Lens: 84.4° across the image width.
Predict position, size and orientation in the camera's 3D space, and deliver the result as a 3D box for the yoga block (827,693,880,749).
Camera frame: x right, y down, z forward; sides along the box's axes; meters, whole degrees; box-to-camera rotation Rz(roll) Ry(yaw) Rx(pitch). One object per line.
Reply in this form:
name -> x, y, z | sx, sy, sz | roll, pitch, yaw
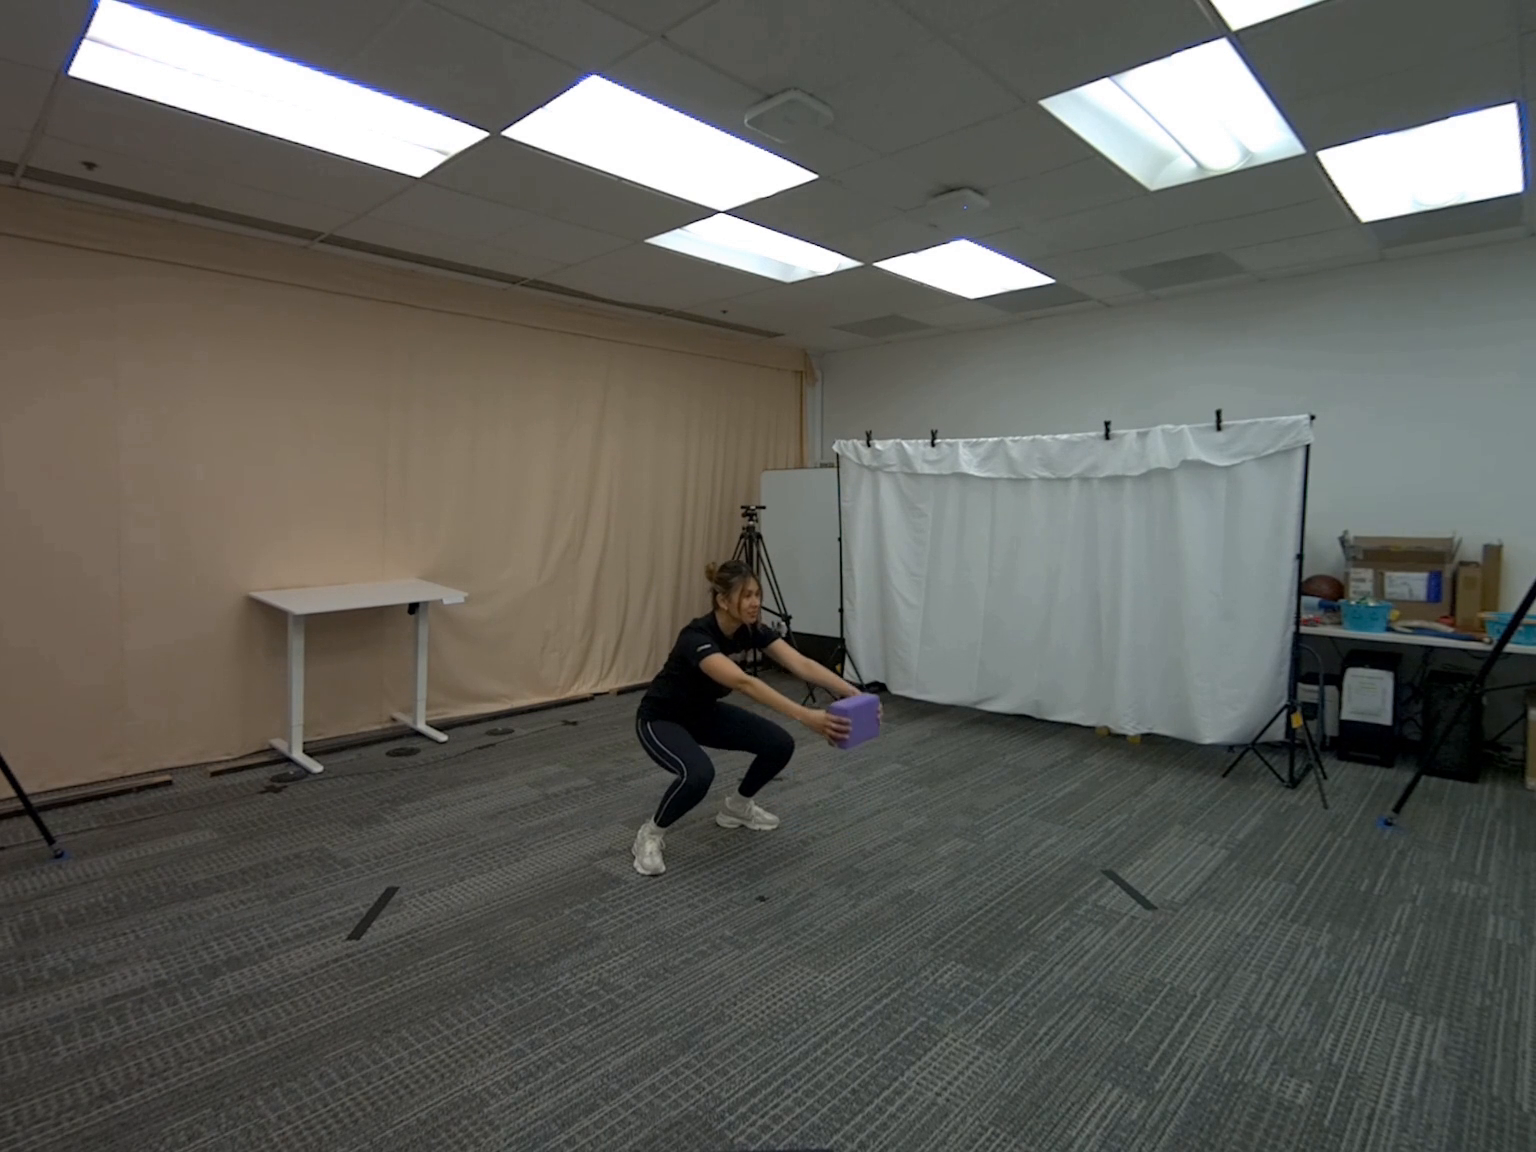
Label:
yoga block -> 0.308, 0.499, 2.925 | 0.079, 0.148, 0.223 | 4, 7, 37
